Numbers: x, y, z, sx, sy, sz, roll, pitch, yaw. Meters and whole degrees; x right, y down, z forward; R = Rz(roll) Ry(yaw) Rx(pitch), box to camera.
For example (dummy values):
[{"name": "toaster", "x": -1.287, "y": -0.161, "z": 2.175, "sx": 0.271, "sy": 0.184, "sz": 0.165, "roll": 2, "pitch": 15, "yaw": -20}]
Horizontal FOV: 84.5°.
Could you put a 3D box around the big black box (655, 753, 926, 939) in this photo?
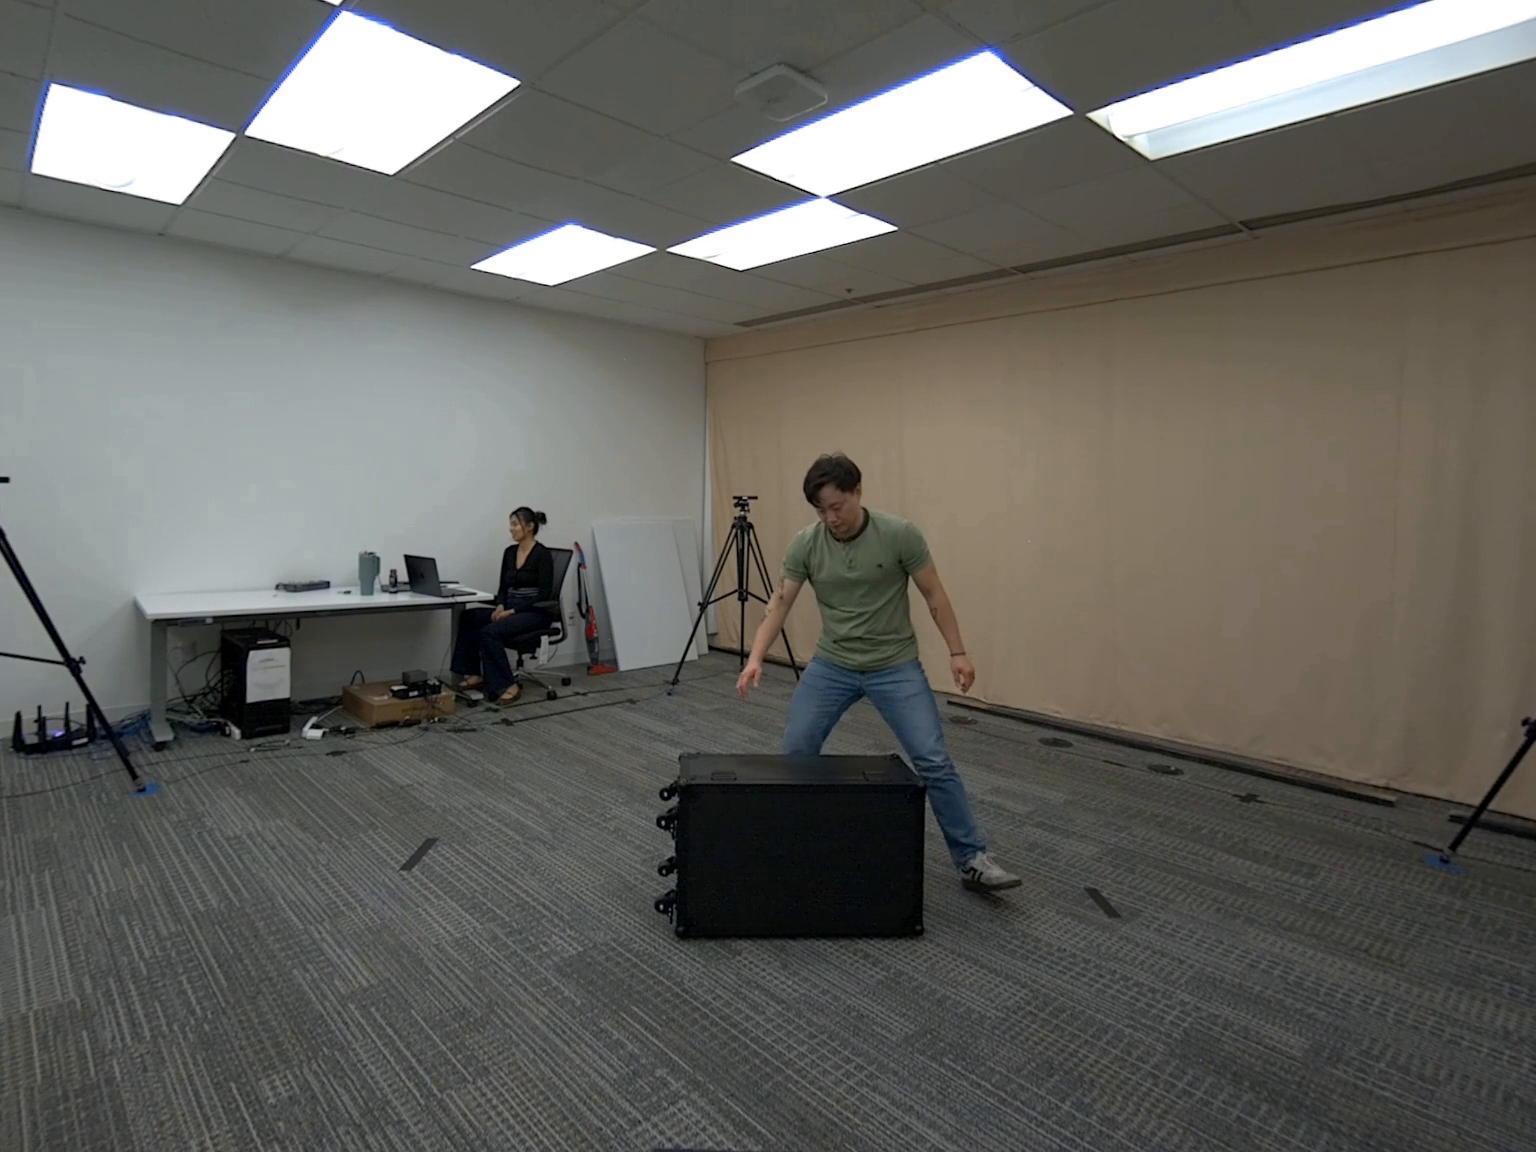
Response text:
[{"name": "big black box", "x": 0.052, "y": 0.876, "z": 2.824, "sx": 0.858, "sy": 0.521, "sz": 0.398, "roll": 1, "pitch": 2, "yaw": -4}]
